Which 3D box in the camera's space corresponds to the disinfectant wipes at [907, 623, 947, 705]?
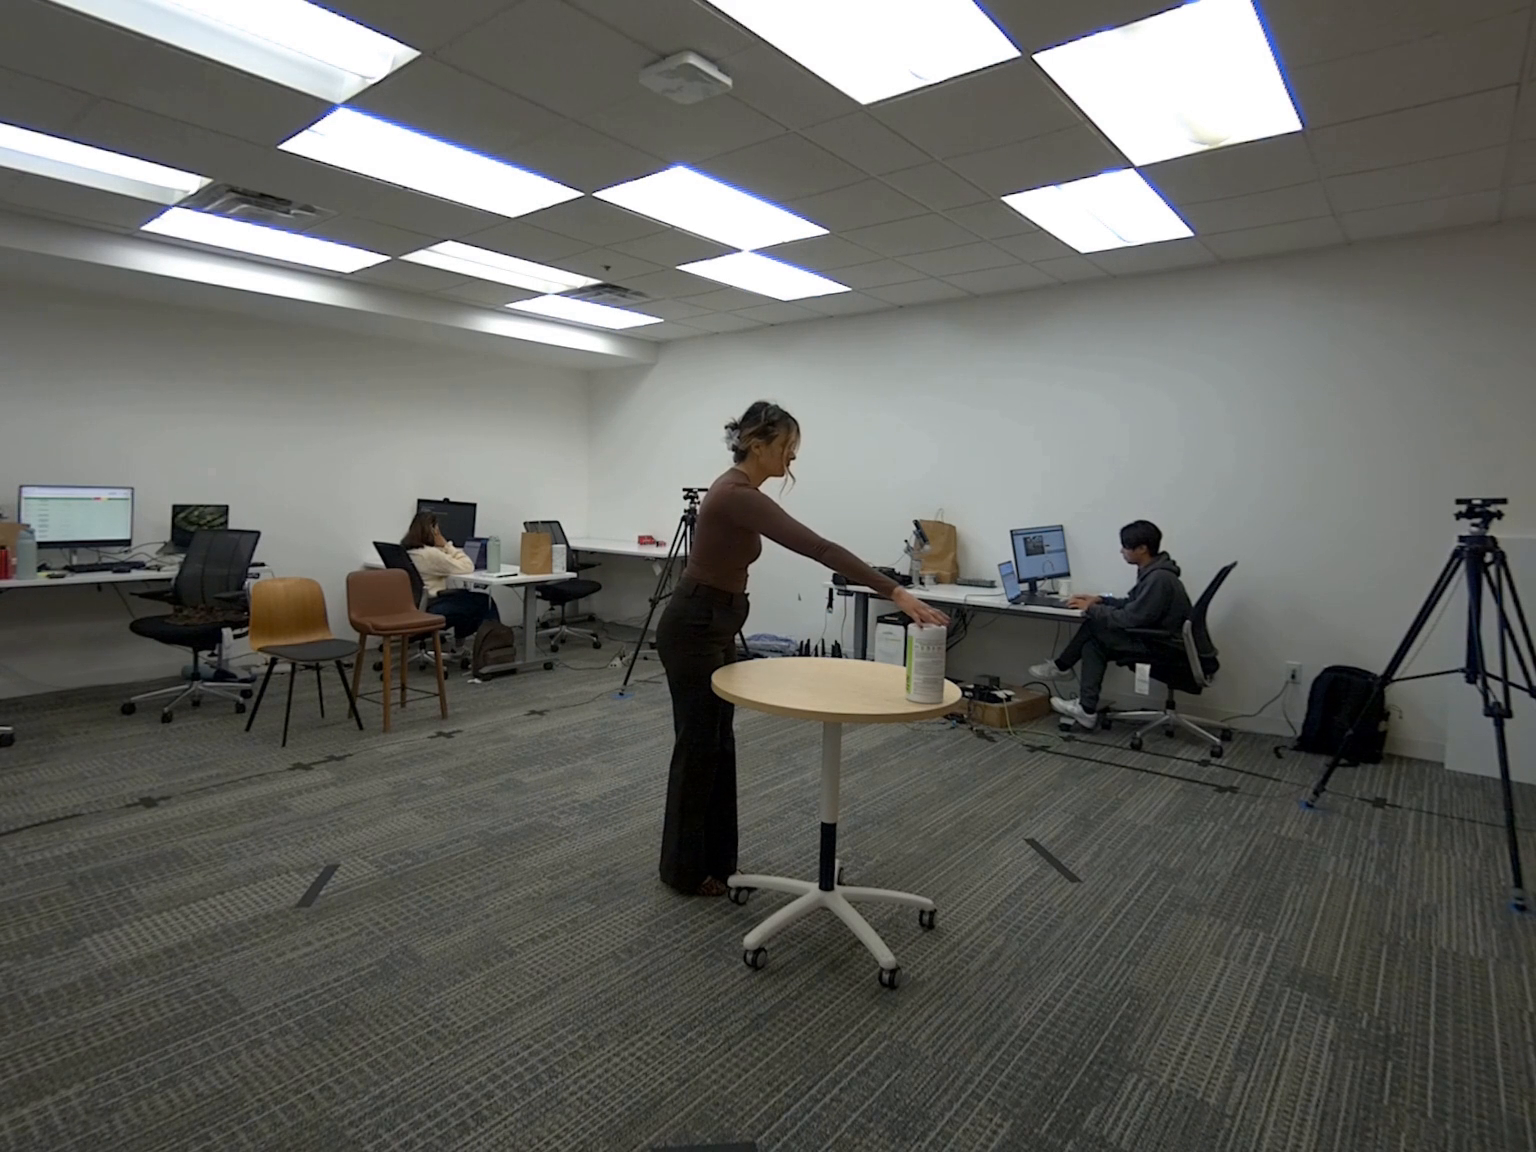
[{"bbox_3d":[0.454,0.249,2.443,0.118,0.217,0.118,1,3,-2],"label":"disinfectant wipes"}]
